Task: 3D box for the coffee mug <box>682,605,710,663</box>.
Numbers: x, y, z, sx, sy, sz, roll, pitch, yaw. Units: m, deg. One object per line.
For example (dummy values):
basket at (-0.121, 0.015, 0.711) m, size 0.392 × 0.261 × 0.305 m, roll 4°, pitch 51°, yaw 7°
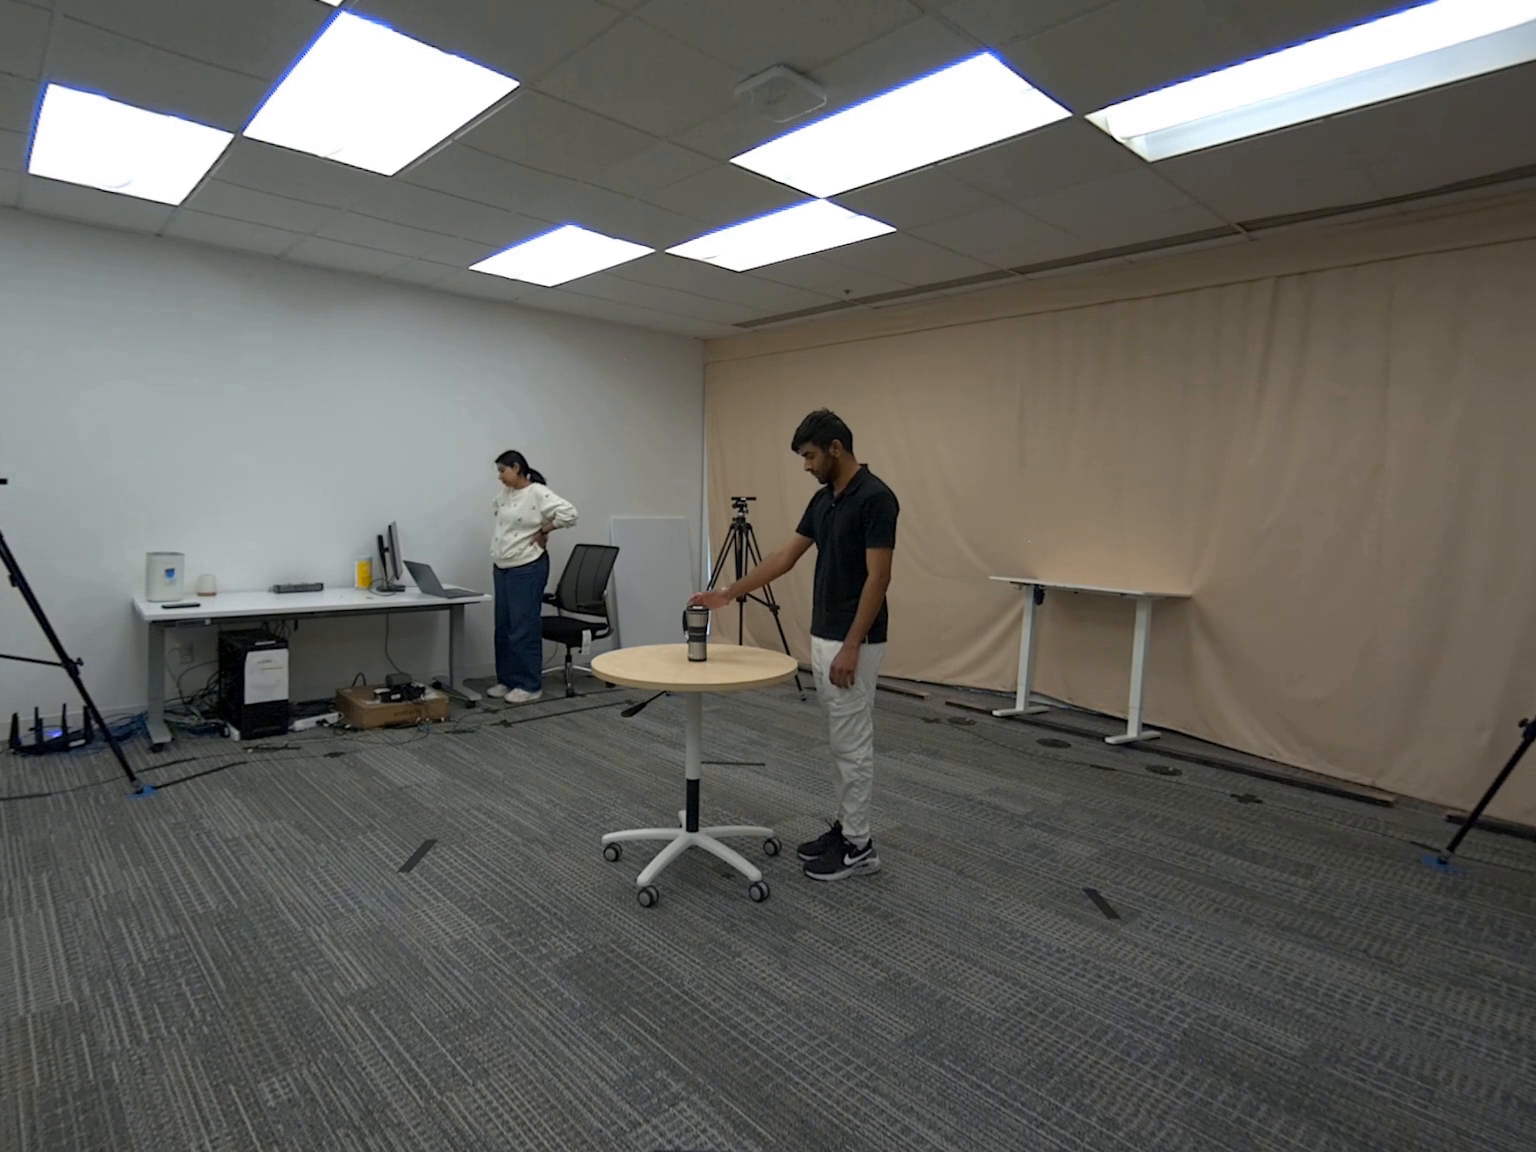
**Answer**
coffee mug at (-0.256, 0.217, 3.168) m, size 0.089 × 0.203 × 0.120 m, roll -3°, pitch 0°, yaw 22°
